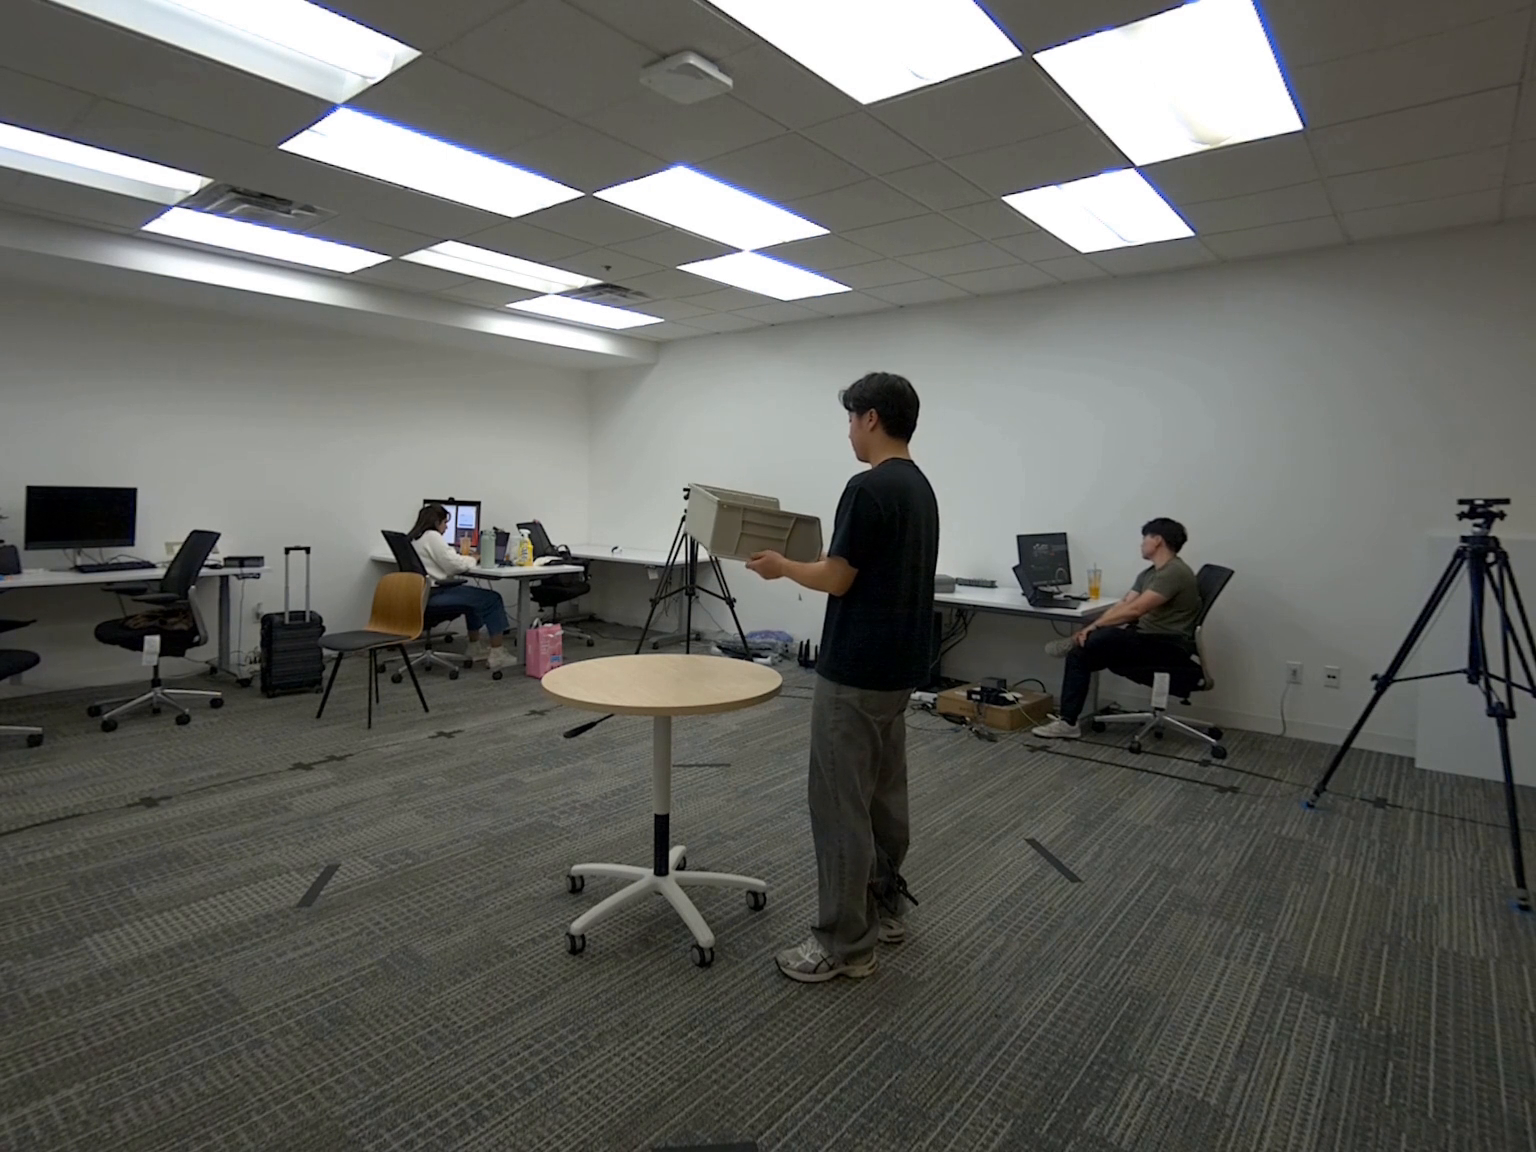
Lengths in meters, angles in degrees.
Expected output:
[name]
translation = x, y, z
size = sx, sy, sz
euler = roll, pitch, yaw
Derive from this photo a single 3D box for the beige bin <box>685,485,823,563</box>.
[beige bin]
translation = -0.064, -0.171, 2.857
size = 0.370, 0.188, 0.433
euler = 9, 10, -17
